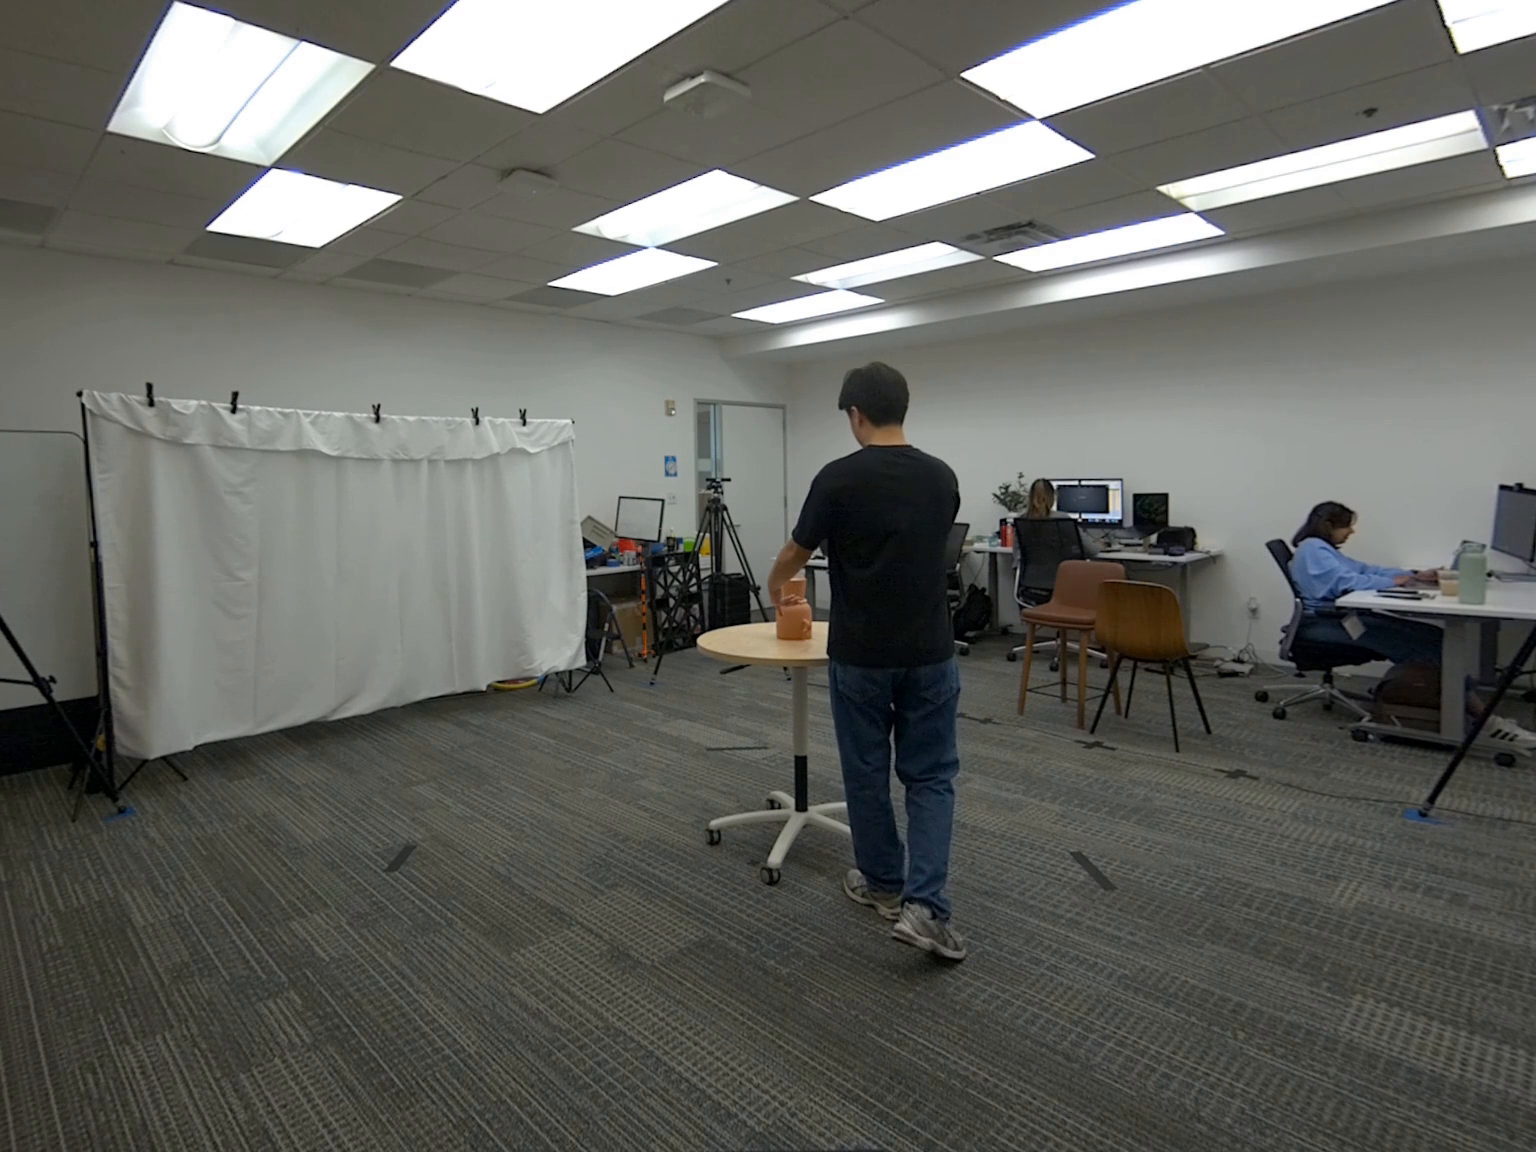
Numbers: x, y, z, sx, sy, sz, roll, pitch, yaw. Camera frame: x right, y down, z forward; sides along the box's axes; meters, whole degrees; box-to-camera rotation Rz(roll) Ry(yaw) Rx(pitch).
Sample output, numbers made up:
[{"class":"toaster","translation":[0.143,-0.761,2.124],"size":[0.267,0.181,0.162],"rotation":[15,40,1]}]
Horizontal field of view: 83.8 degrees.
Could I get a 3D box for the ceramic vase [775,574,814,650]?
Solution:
[{"class":"ceramic vase","translation":[0.103,0.121,3.212],"size":[0.162,0.219,0.132],"rotation":[2,3,18]}]
